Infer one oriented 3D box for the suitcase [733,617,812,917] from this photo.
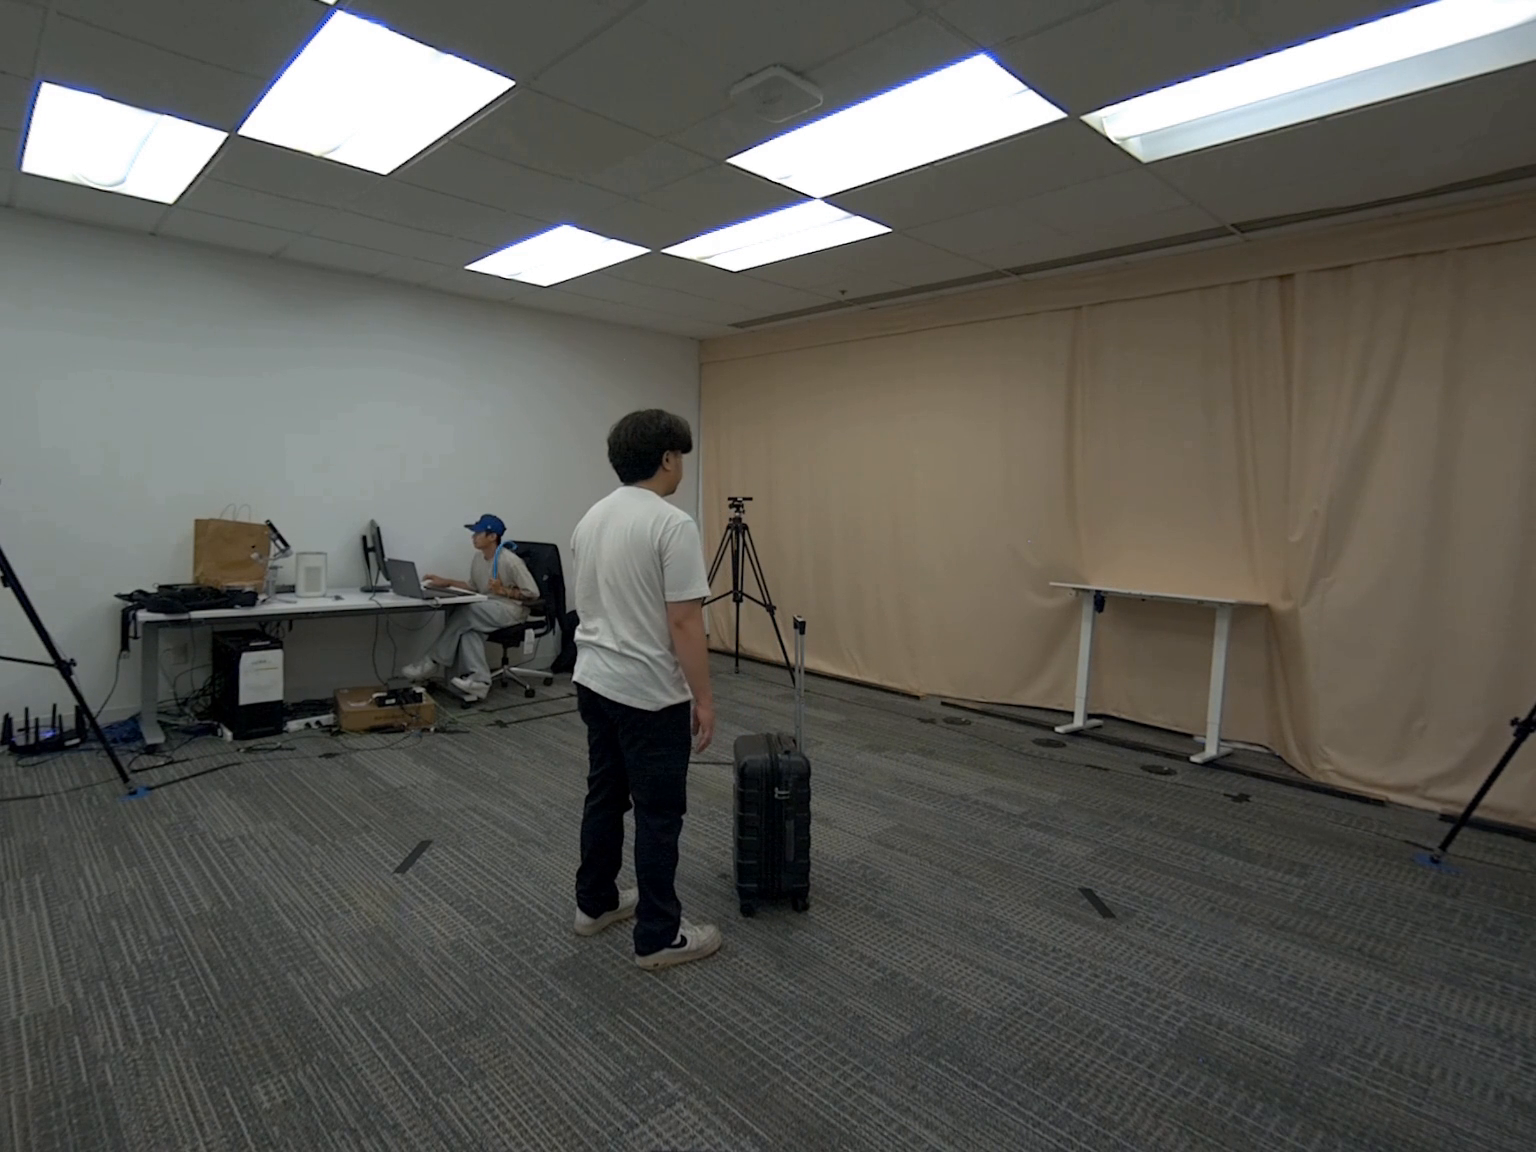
[{"bbox_3d":[-0.001,0.648,2.949,0.256,0.976,0.386,-2,3,-6],"label":"suitcase"}]
